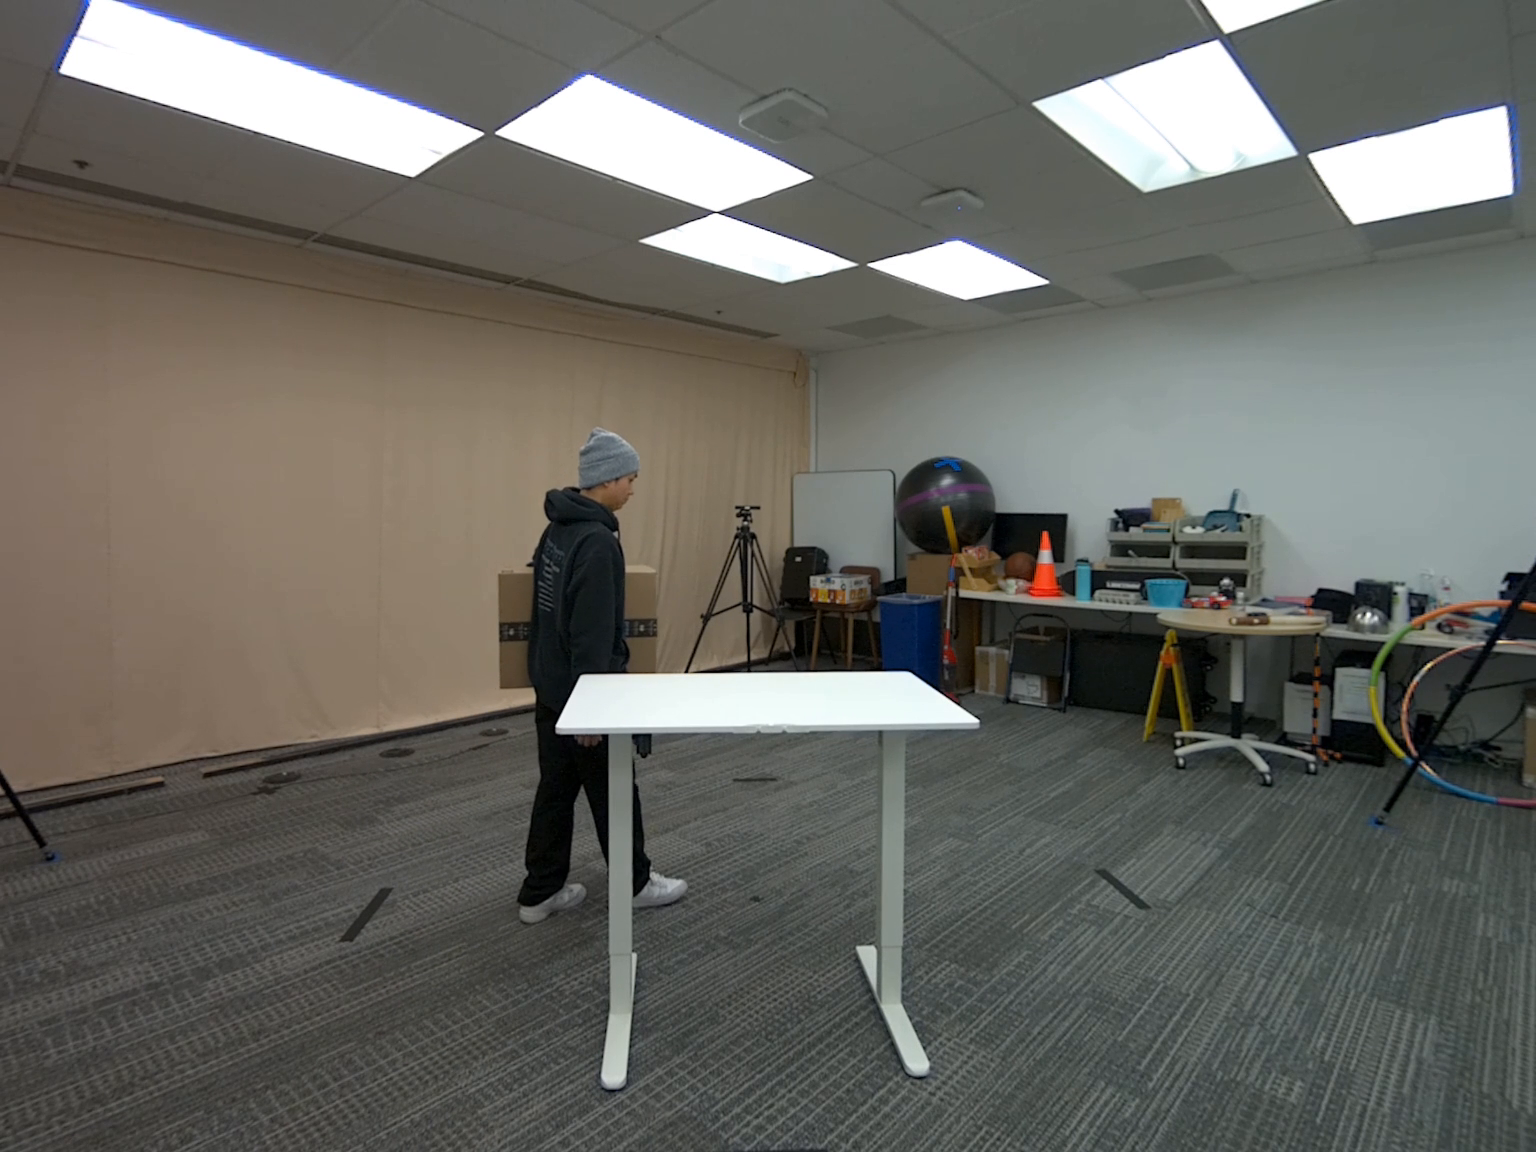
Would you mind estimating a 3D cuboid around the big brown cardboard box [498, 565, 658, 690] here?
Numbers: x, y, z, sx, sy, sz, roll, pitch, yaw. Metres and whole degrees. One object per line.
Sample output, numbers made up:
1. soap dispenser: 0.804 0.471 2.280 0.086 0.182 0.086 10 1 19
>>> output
1. big brown cardboard box: -0.701 0.179 3.138 0.581 0.416 0.237 0 5 -12
